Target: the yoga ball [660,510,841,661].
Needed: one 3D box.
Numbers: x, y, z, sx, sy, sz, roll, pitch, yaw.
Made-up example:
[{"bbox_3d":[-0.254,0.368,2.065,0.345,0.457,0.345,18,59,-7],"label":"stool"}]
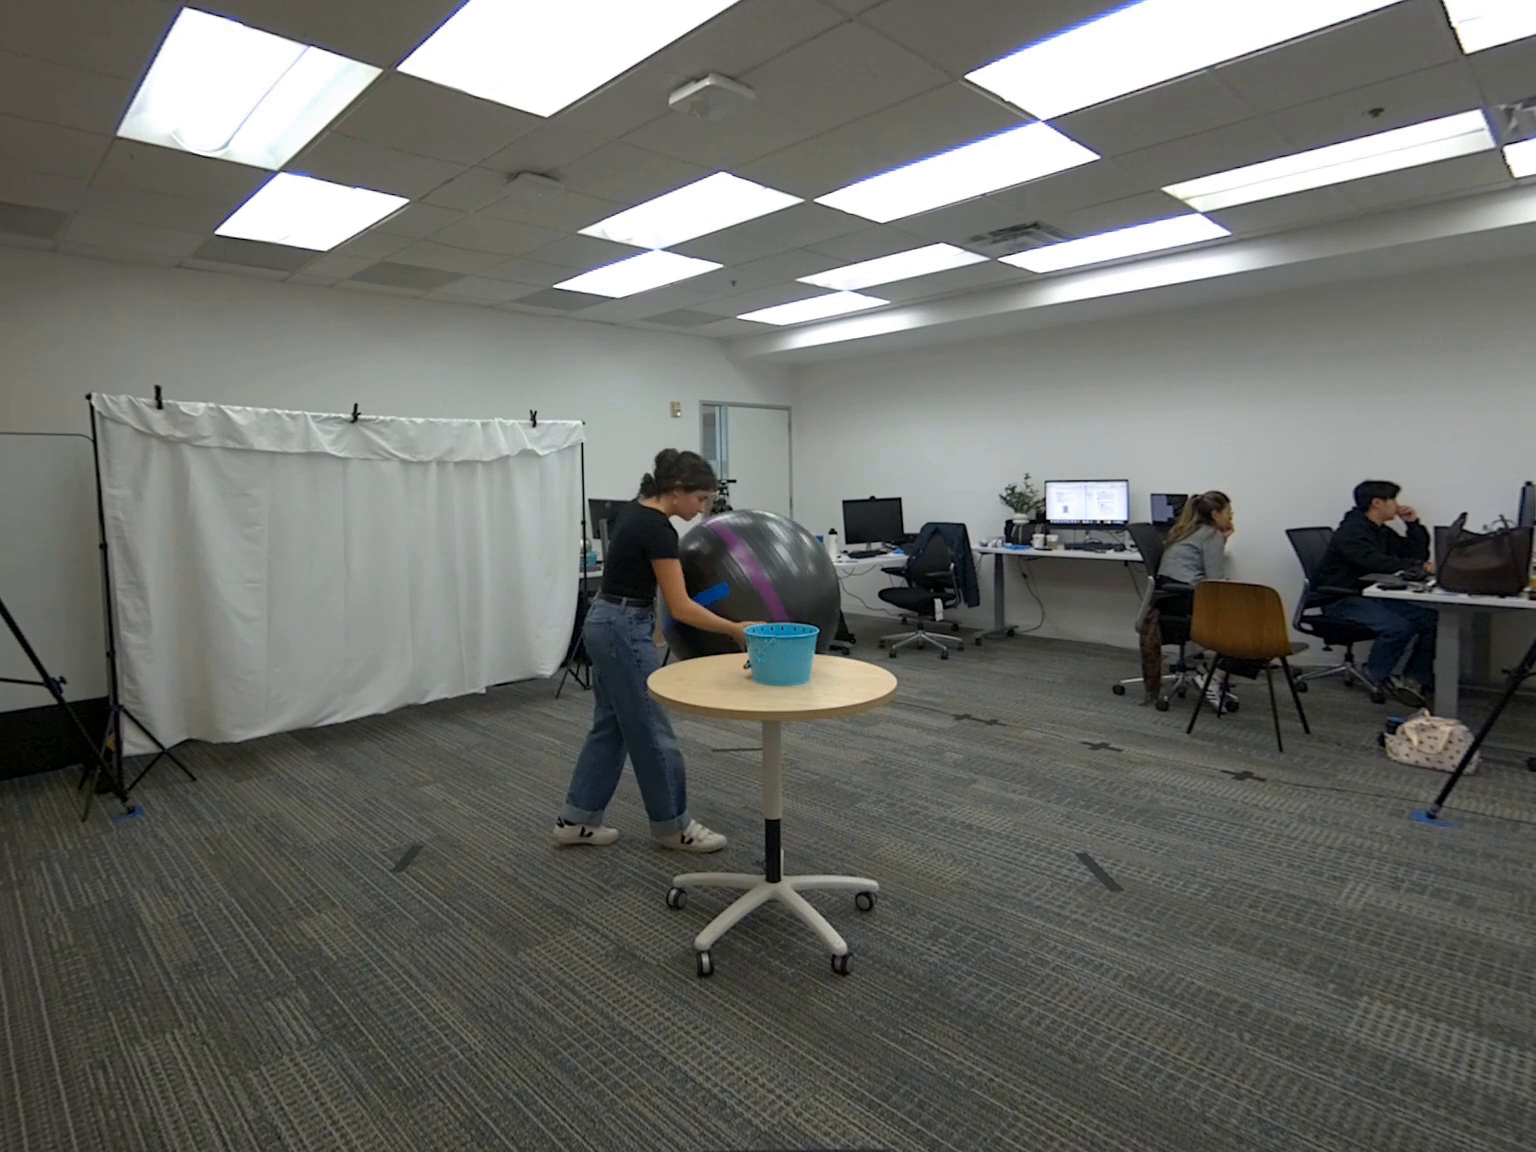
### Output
[{"bbox_3d":[-0.085,0.107,3.552,0.757,0.755,0.762,-1,5,-2],"label":"yoga ball"}]
